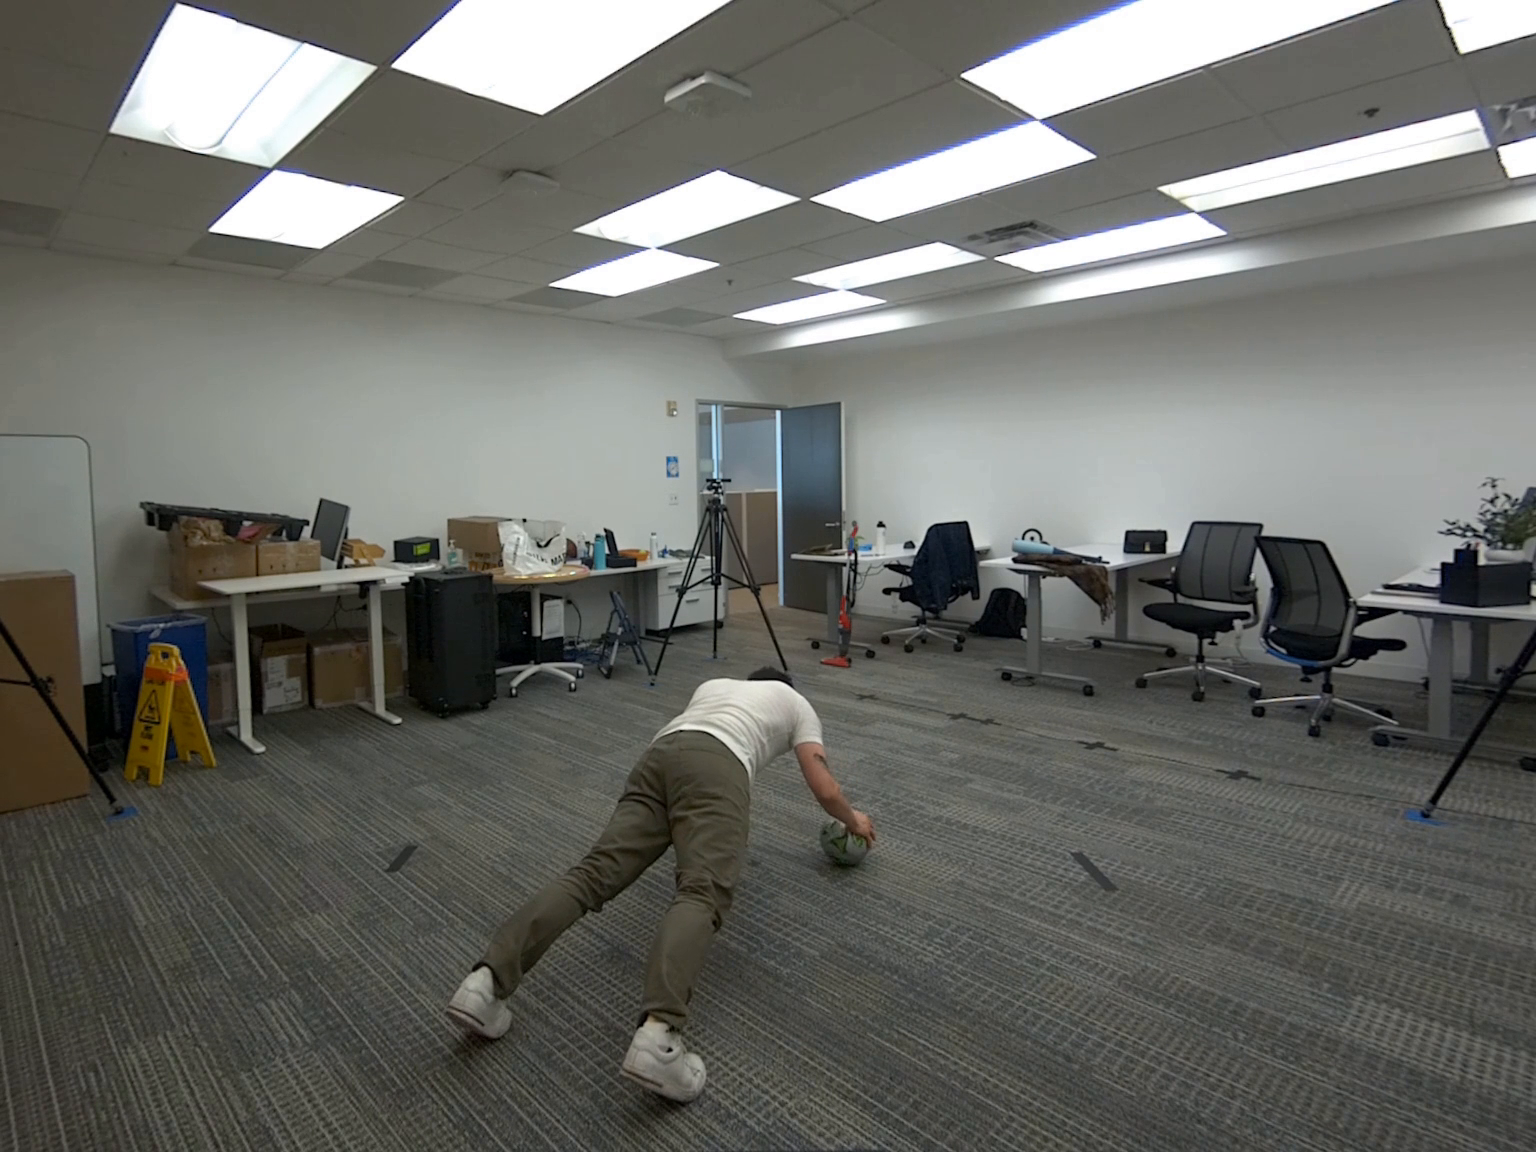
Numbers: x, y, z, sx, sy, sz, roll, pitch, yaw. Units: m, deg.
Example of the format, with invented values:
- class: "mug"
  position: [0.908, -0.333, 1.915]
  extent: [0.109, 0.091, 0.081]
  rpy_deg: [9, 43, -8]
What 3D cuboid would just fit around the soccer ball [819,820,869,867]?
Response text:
- class: "soccer ball"
  position: [0.275, 0.946, 3.094]
  extent: [0.187, 0.187, 0.188]
  rpy_deg: [-1, 5, -2]
